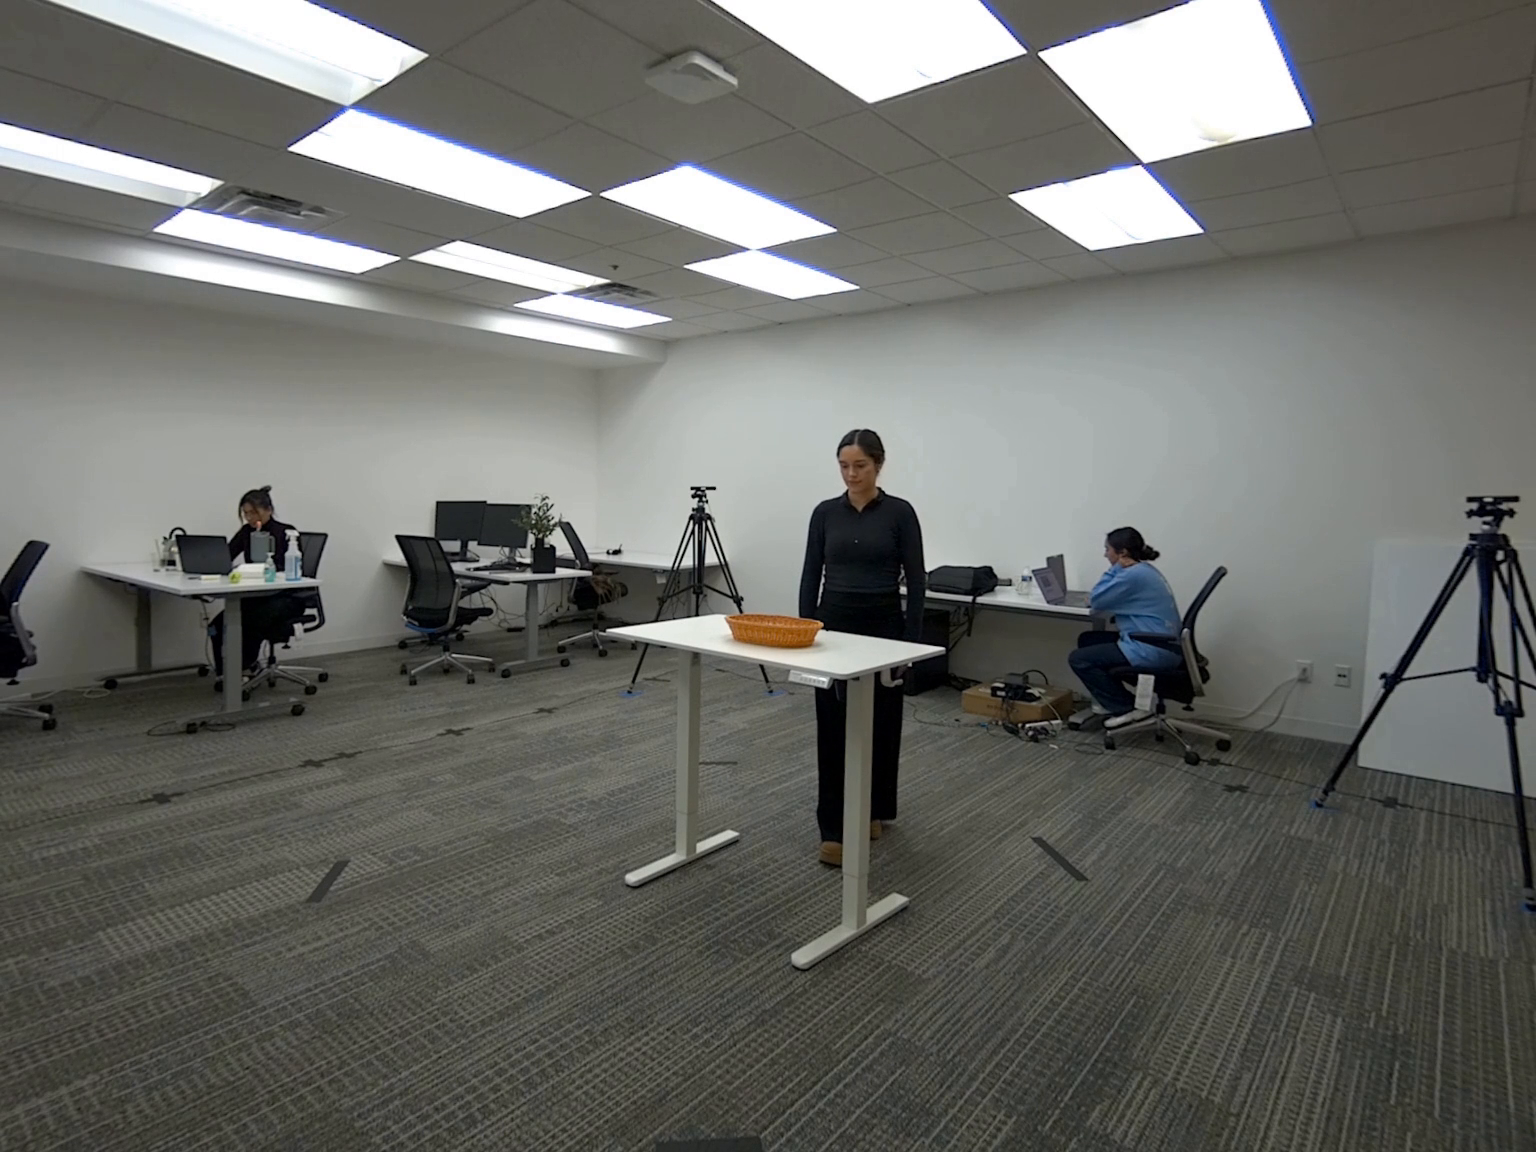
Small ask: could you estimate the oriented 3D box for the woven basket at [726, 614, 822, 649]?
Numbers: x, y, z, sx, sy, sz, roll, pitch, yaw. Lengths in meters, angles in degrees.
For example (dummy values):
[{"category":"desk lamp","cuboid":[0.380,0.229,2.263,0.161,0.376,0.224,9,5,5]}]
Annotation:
[{"category":"woven basket","cuboid":[0.016,0.187,2.828,0.362,0.073,0.245,5,6,40]}]
